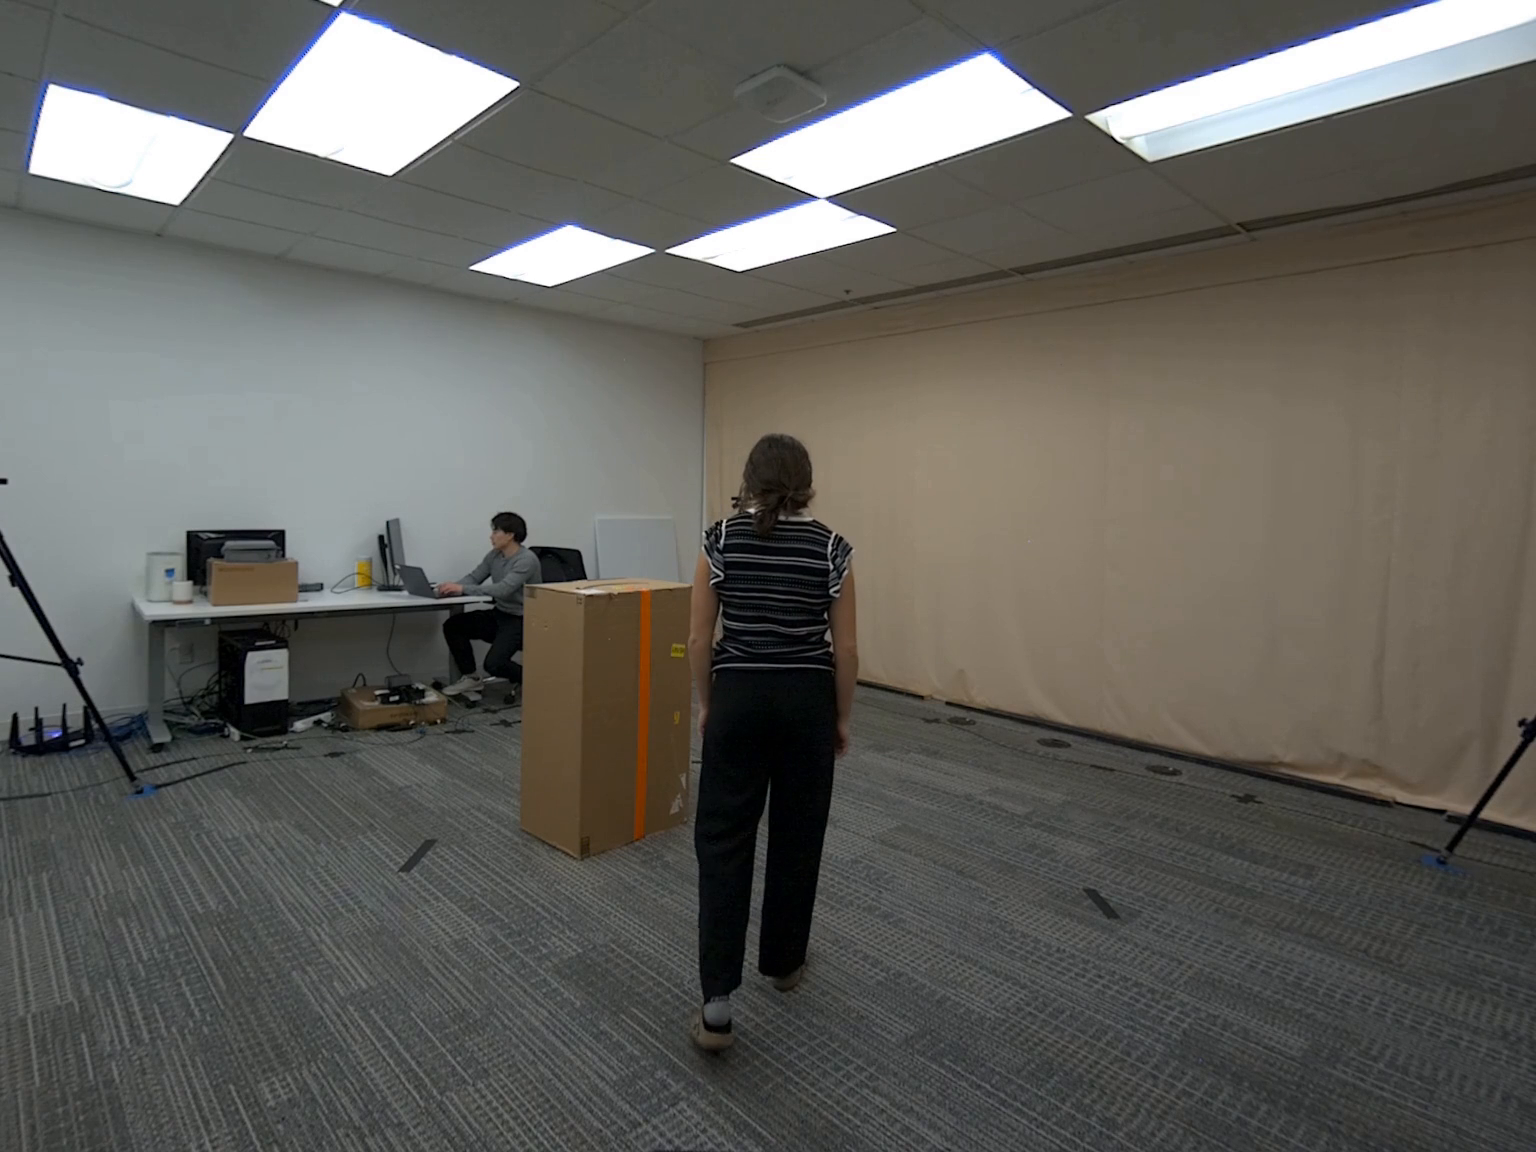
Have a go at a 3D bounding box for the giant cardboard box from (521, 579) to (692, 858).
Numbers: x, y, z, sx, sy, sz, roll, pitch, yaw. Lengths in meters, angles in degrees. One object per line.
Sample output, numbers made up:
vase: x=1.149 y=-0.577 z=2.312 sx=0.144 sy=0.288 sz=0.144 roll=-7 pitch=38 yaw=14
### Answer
giant cardboard box: x=-0.681 y=0.551 z=3.532 sx=0.437 sy=1.023 sz=0.564 roll=4 pitch=4 yaw=42
